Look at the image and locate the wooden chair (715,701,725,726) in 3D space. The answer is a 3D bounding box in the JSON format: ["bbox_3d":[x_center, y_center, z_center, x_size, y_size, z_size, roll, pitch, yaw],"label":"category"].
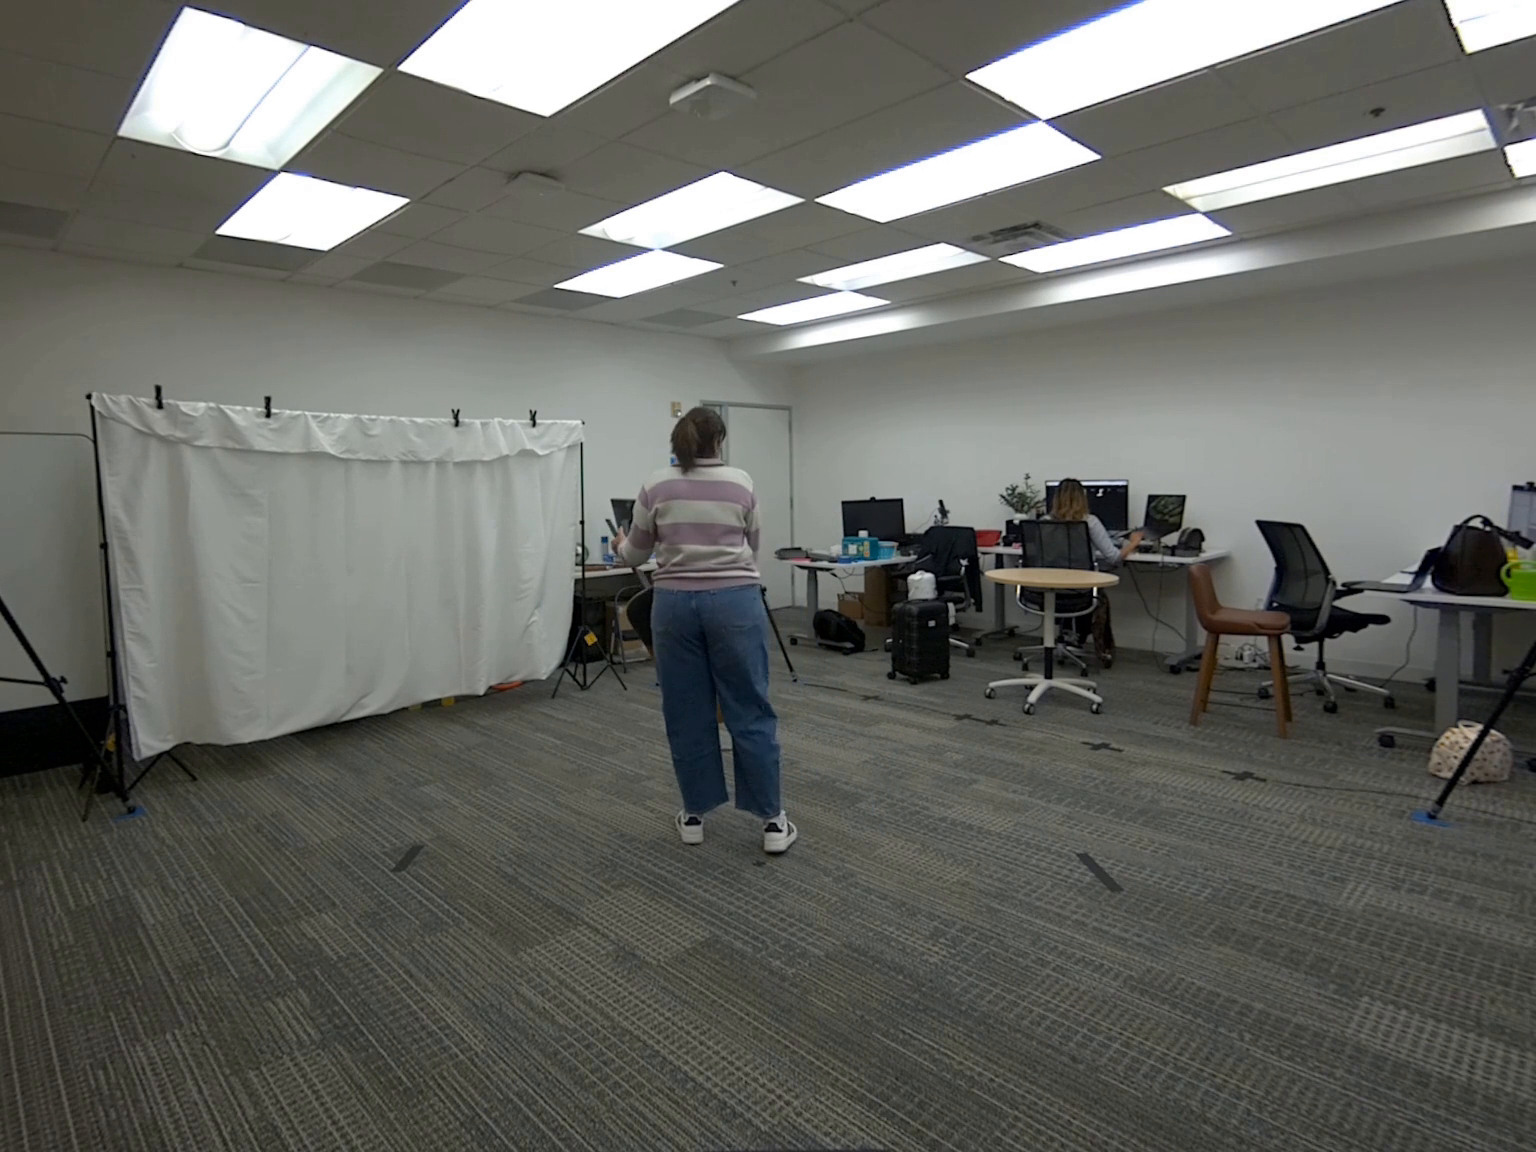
[{"bbox_3d":[-0.328,0.143,3.623,0.479,0.904,0.506,-19,-30,2],"label":"wooden chair"}]
